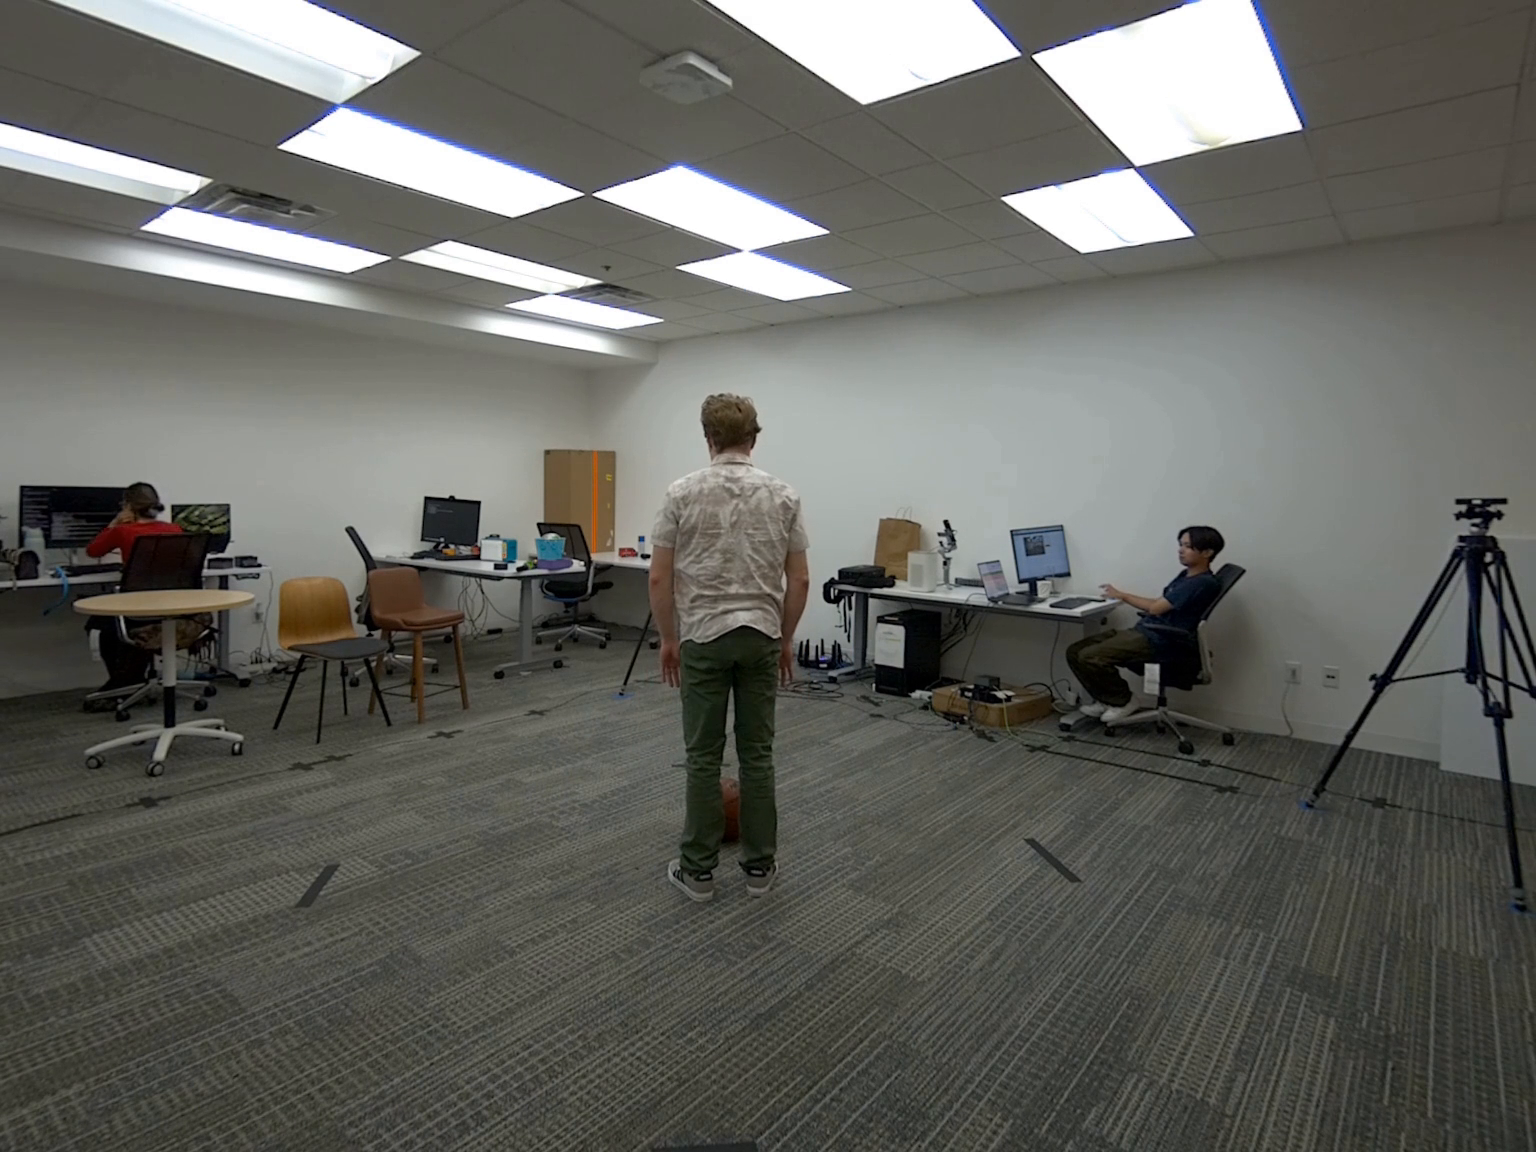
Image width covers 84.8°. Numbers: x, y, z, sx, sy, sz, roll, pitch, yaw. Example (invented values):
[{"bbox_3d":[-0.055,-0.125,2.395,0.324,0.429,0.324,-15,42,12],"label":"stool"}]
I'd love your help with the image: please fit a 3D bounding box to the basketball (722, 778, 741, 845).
[{"bbox_3d":[-0.178,0.917,3.382,0.235,0.235,0.237,1,4,-2],"label":"basketball"}]
